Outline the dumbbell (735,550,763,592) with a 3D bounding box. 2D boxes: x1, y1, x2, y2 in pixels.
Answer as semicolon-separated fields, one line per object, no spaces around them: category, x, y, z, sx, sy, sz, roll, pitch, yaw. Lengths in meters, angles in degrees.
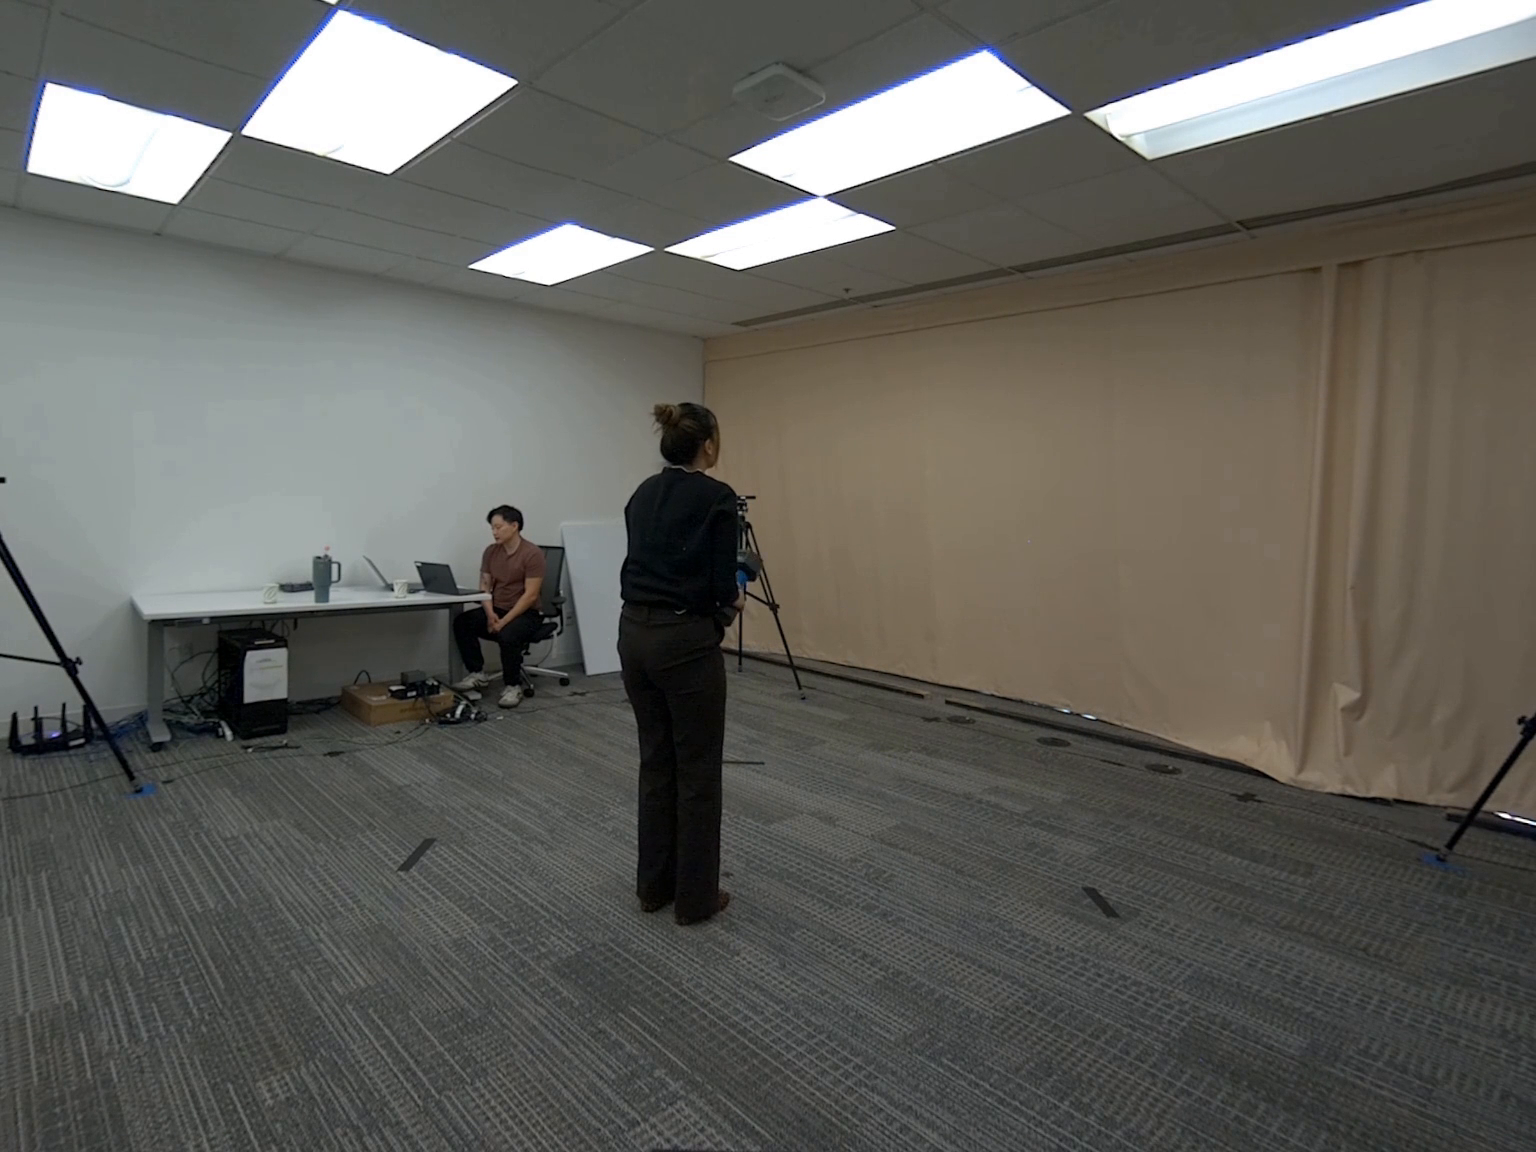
dumbbell;-0.125;0.041;2.993;0.121;0.295;0.110;42;-37;-18
